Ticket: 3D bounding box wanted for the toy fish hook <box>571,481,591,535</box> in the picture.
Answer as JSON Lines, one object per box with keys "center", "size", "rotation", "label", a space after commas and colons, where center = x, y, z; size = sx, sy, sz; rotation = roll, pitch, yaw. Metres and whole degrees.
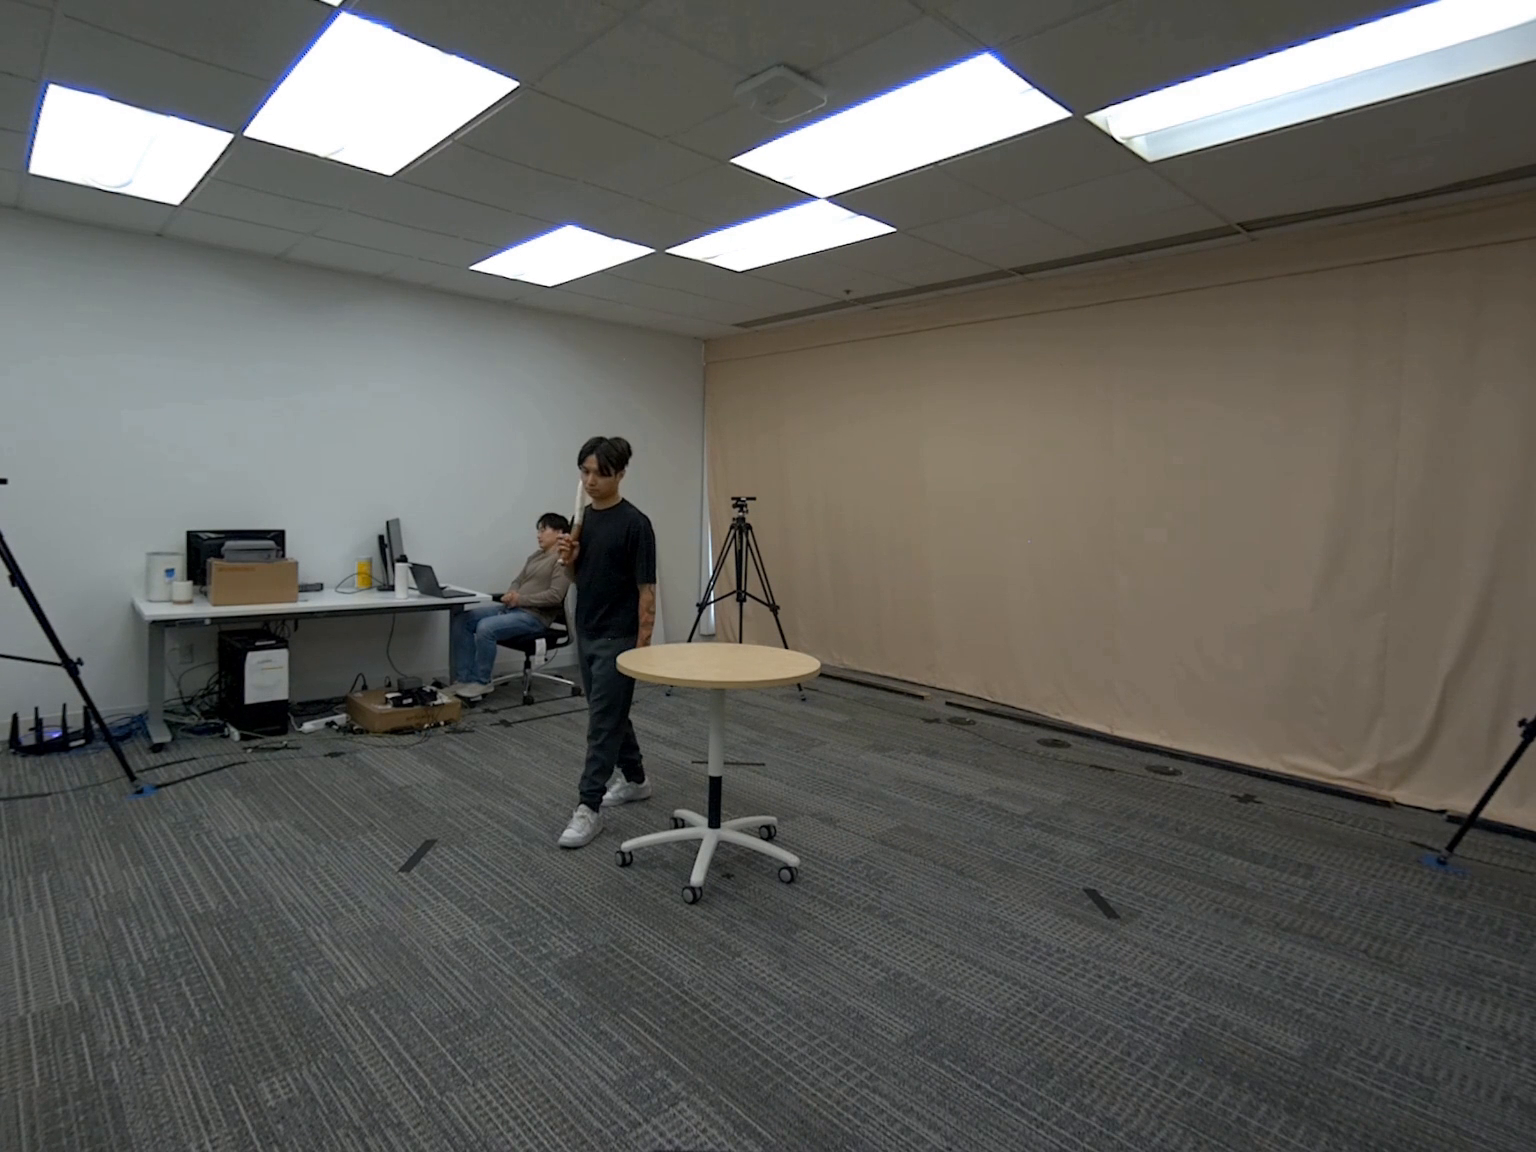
{"center": [-0.764, -0.240, 3.641], "size": [0.218, 0.513, 0.049], "rotation": [33, -34, -32], "label": "toy fish hook"}
